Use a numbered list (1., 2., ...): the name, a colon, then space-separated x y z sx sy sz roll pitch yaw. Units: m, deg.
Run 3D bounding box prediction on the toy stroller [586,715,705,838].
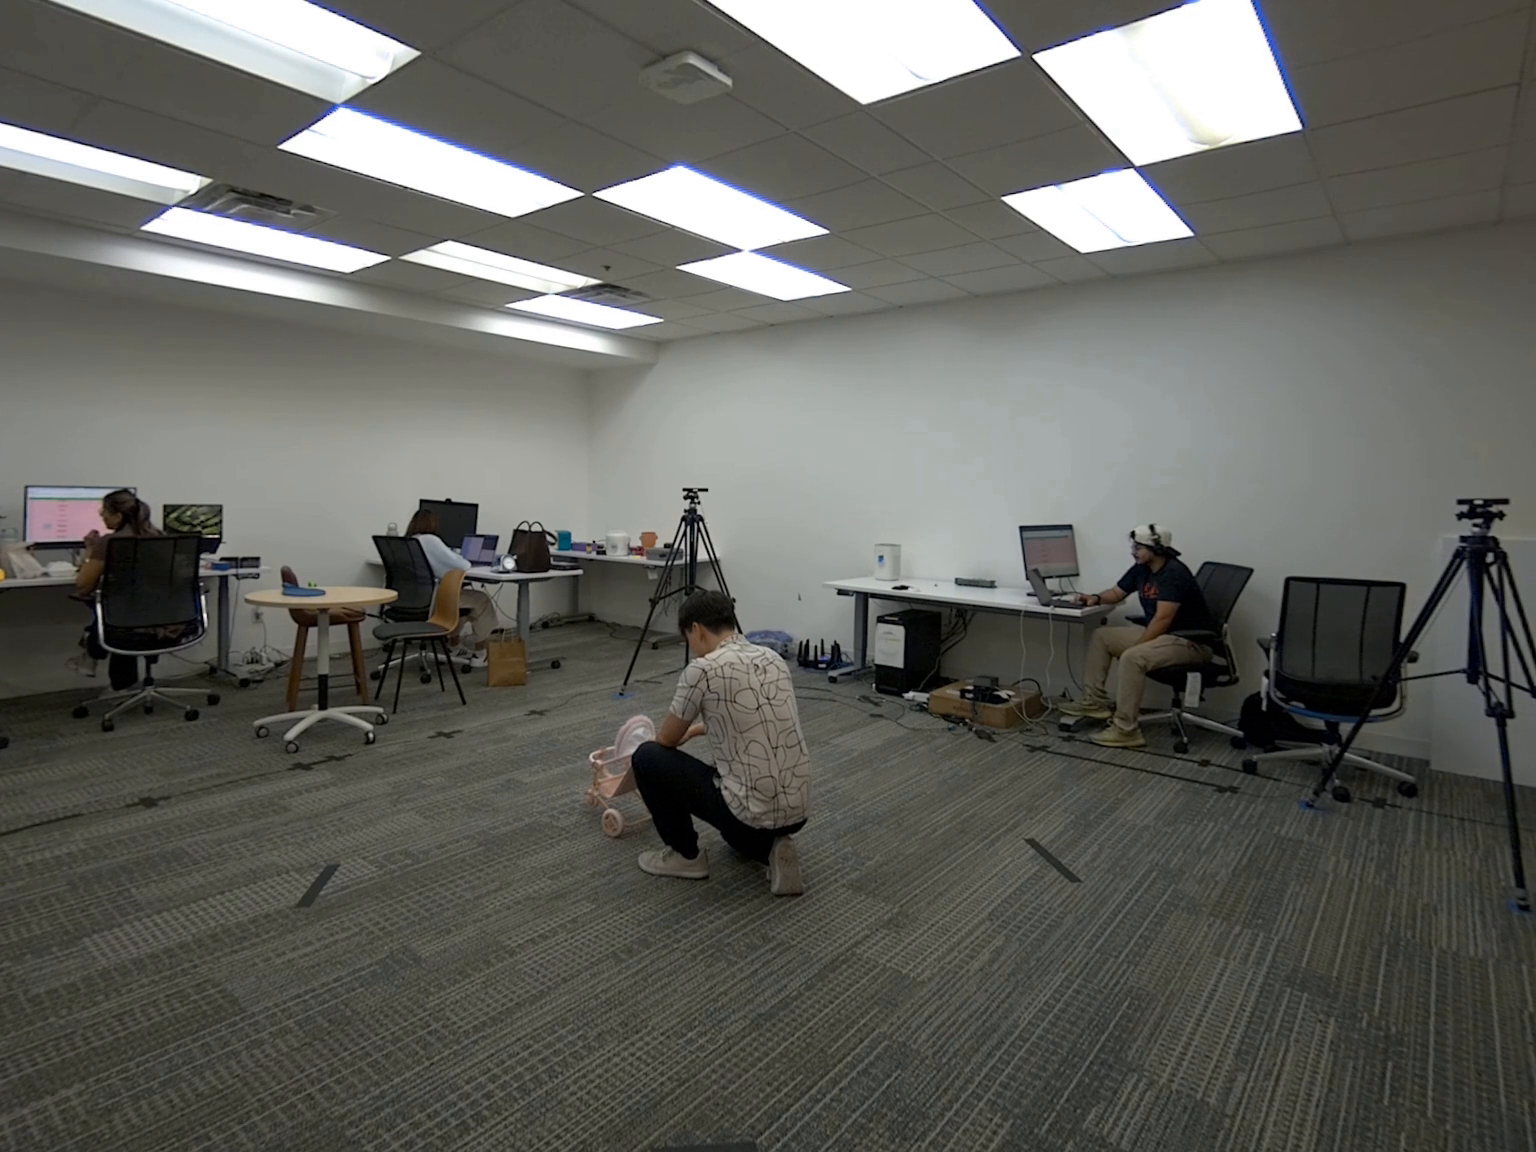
1. toy stroller: -0.589 0.798 3.506 0.355 0.530 0.273 32 20 36
